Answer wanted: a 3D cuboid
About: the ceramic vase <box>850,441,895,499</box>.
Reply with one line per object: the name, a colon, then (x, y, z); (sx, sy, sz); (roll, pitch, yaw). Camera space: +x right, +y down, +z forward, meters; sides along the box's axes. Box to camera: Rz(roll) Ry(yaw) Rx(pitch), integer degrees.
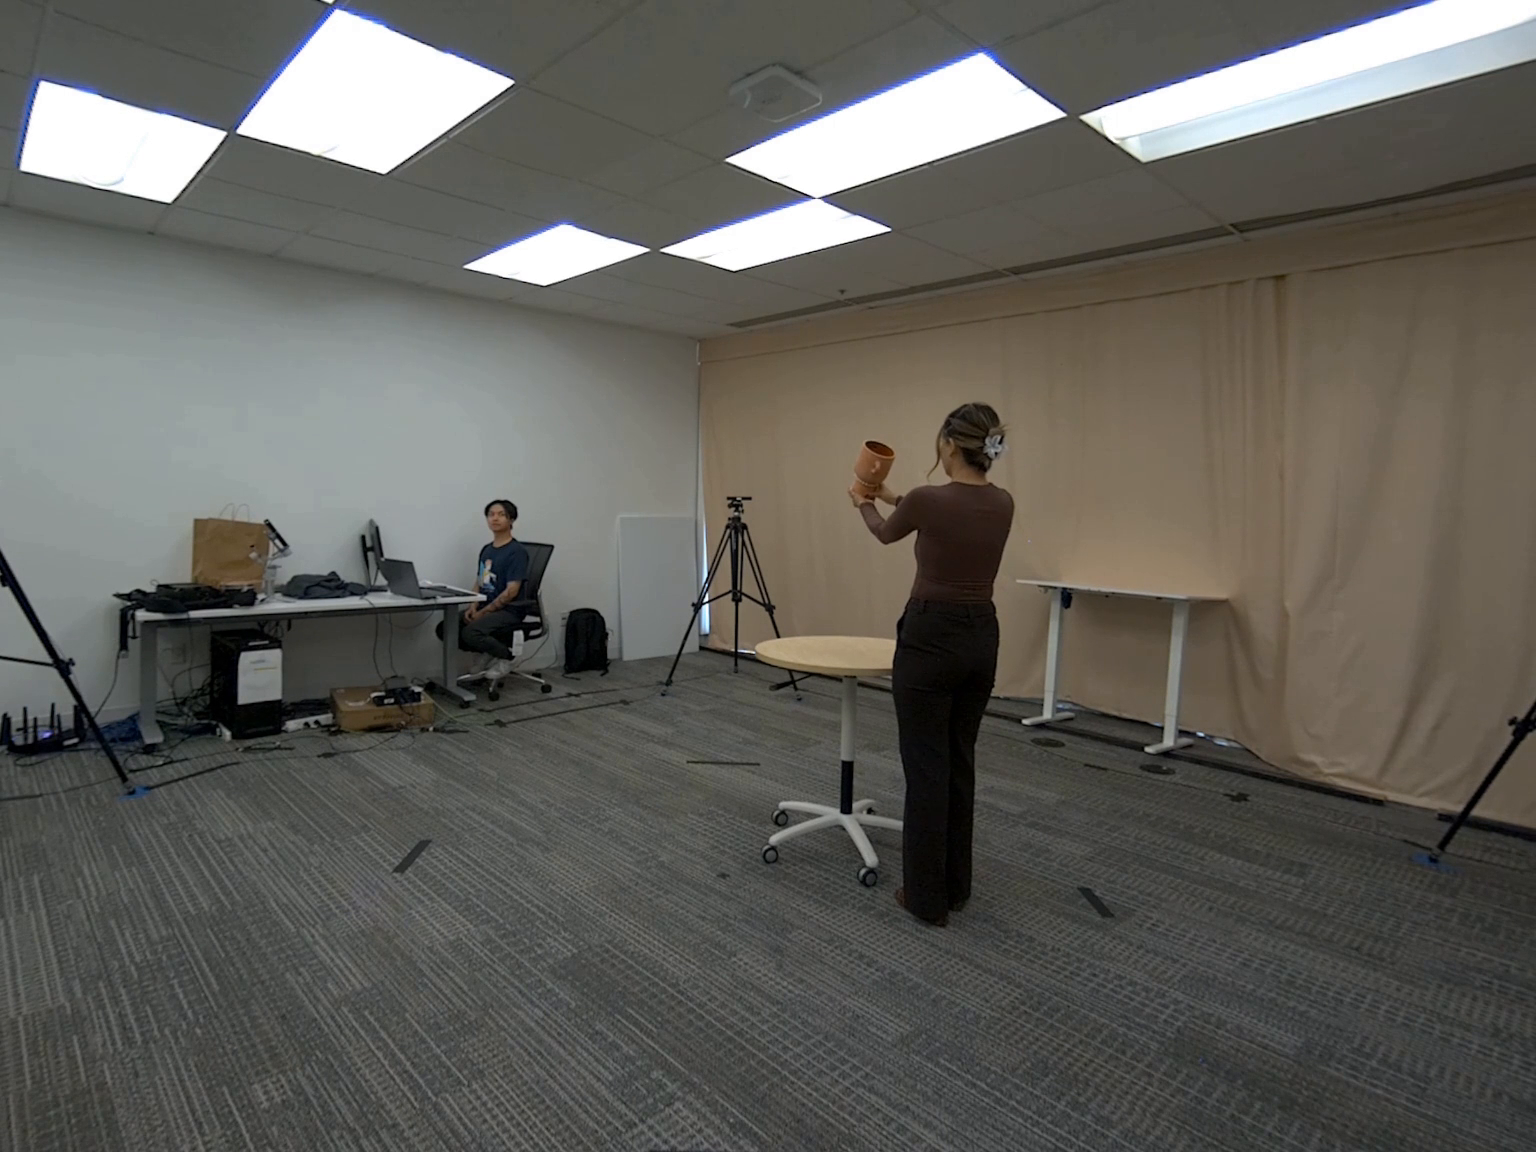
ceramic vase: (0.375, -0.399, 3.248); (0.138, 0.217, 0.156); (39, 37, 26)
